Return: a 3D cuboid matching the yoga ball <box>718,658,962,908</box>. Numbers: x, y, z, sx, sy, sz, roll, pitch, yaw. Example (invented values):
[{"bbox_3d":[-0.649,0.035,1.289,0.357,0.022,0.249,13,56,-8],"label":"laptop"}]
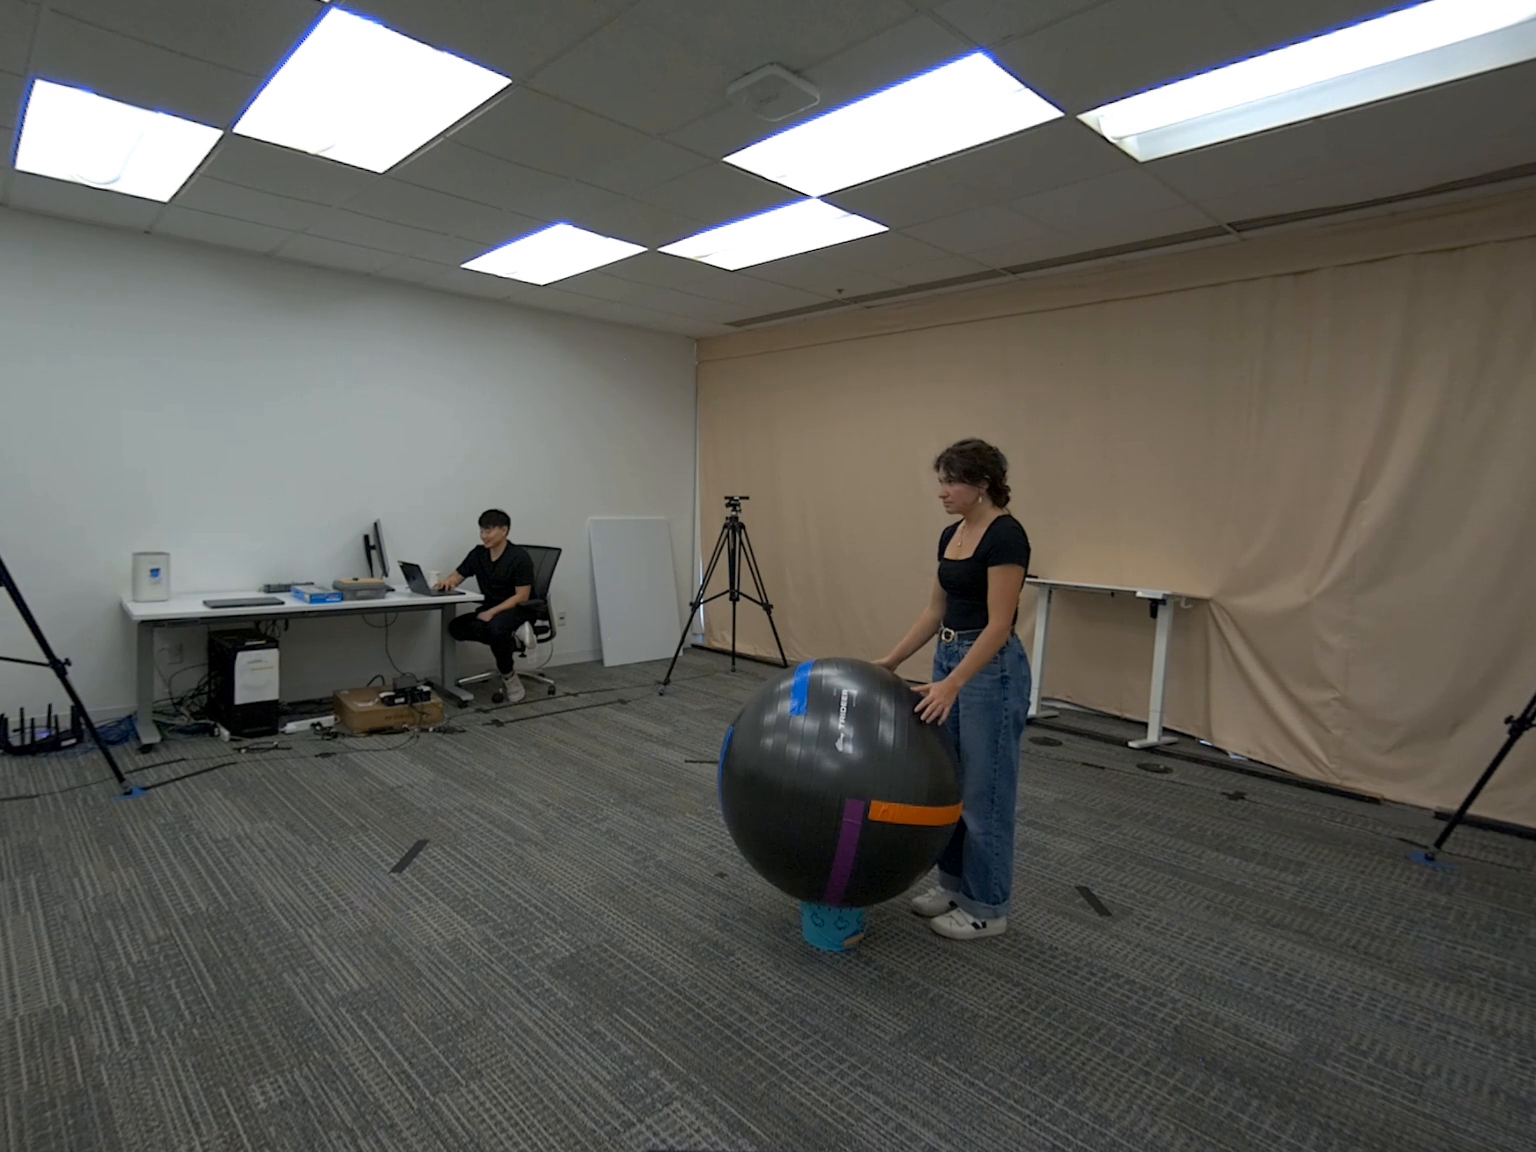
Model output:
[{"bbox_3d":[0.211,0.646,2.655,0.757,0.756,0.761,1,4,-1],"label":"yoga ball"}]
